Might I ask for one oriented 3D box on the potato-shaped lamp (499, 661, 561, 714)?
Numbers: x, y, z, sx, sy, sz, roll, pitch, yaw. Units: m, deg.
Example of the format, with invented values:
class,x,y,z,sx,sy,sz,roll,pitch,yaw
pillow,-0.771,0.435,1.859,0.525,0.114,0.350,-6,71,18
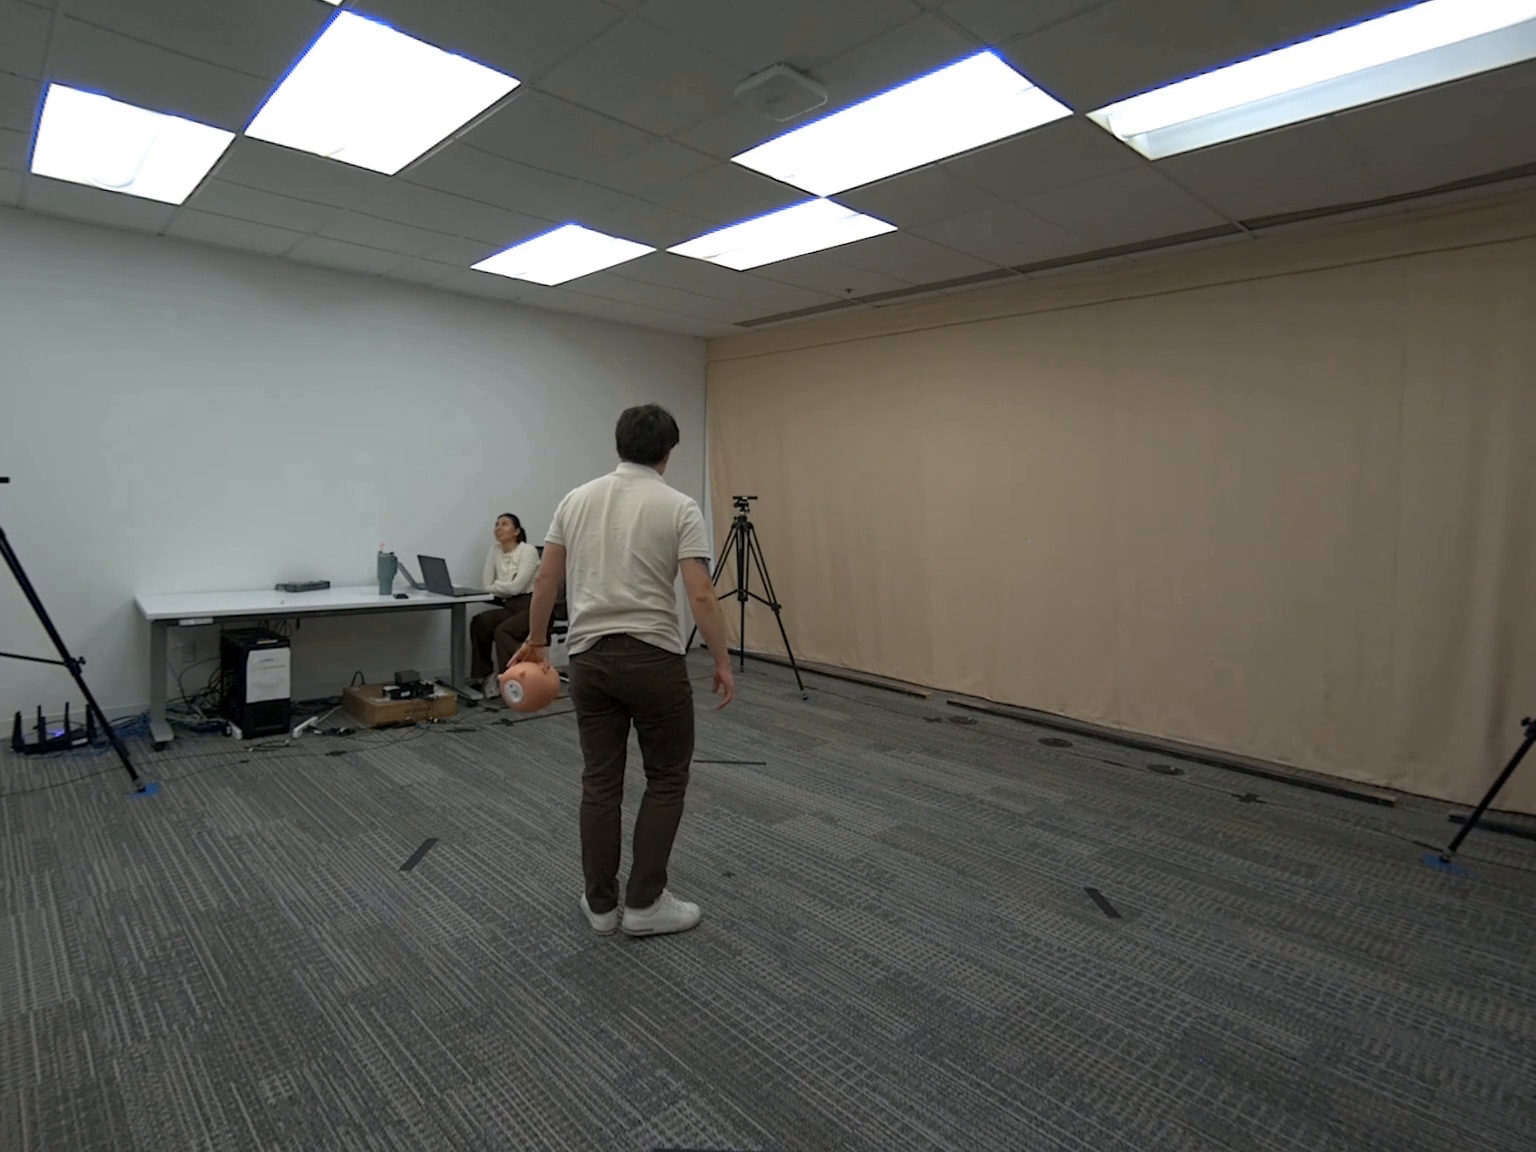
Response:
class,x,y,z,sx,sy,sz,roll,pitch,yaw
potato-shaped lamp,-0.797,0.373,2.862,0.167,0.171,0.196,-16,5,27
